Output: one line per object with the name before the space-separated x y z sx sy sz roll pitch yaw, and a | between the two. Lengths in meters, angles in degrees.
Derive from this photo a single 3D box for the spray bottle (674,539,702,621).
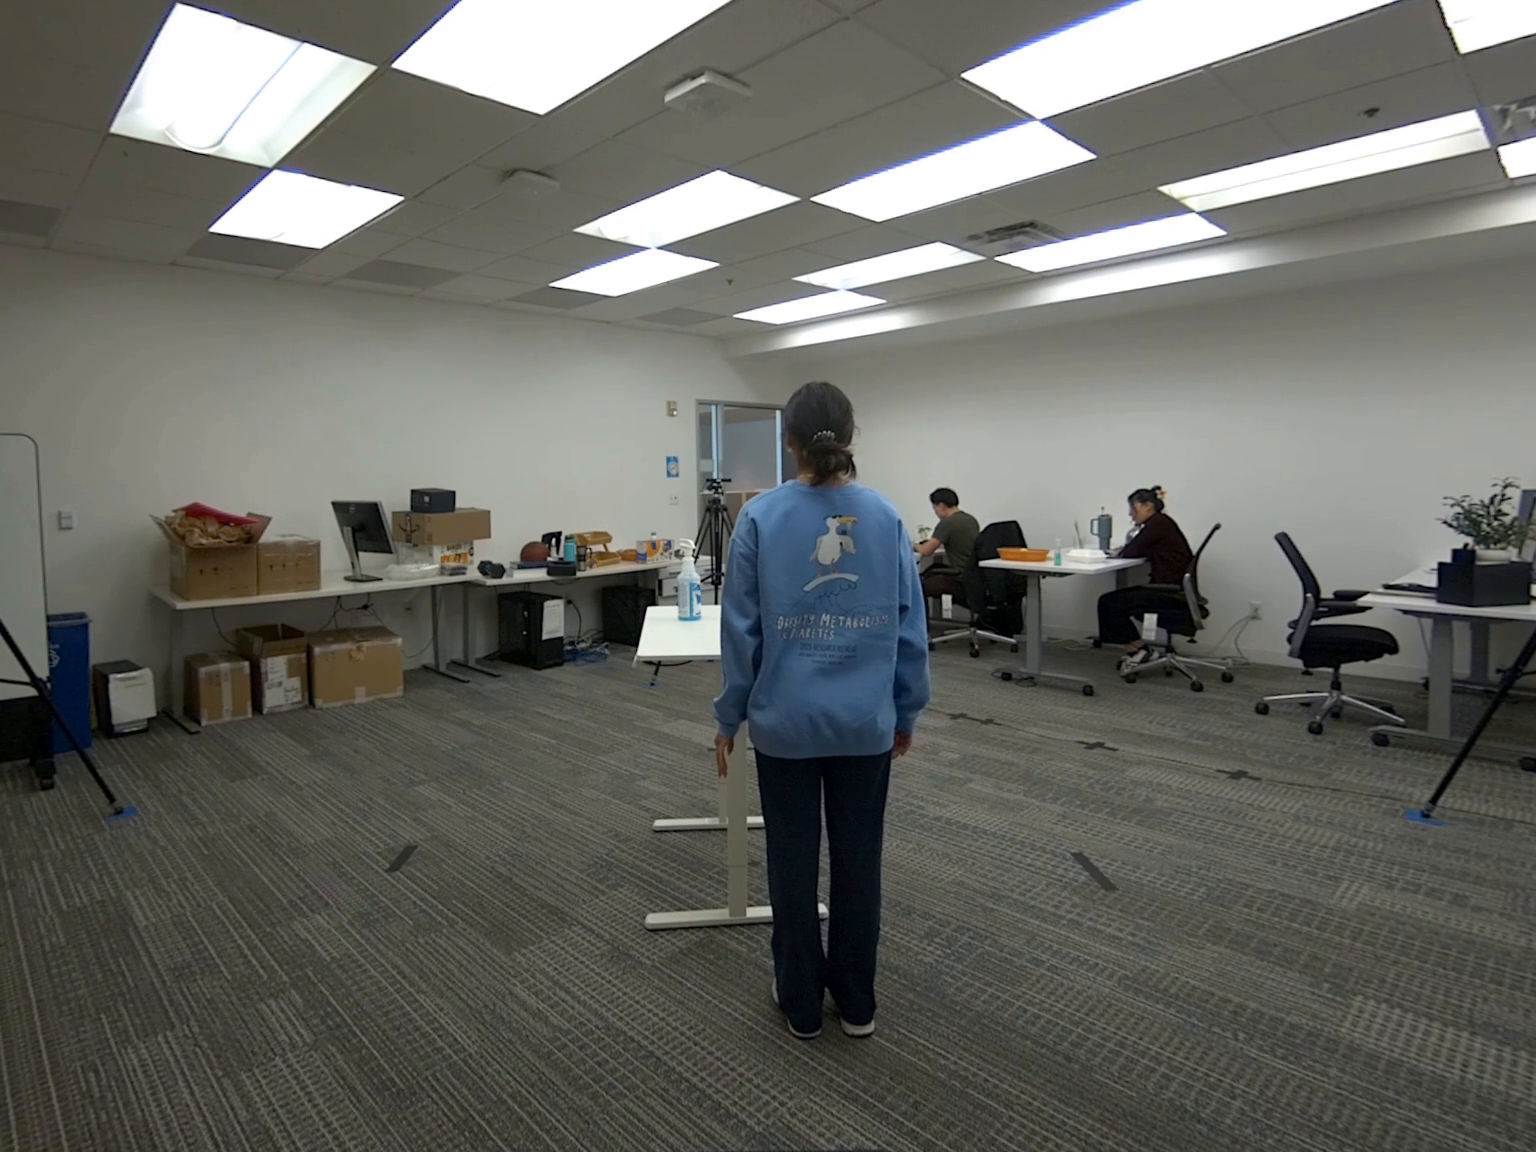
spray bottle | -0.294 0.016 3.158 0.086 0.297 0.091 -1 2 -14
